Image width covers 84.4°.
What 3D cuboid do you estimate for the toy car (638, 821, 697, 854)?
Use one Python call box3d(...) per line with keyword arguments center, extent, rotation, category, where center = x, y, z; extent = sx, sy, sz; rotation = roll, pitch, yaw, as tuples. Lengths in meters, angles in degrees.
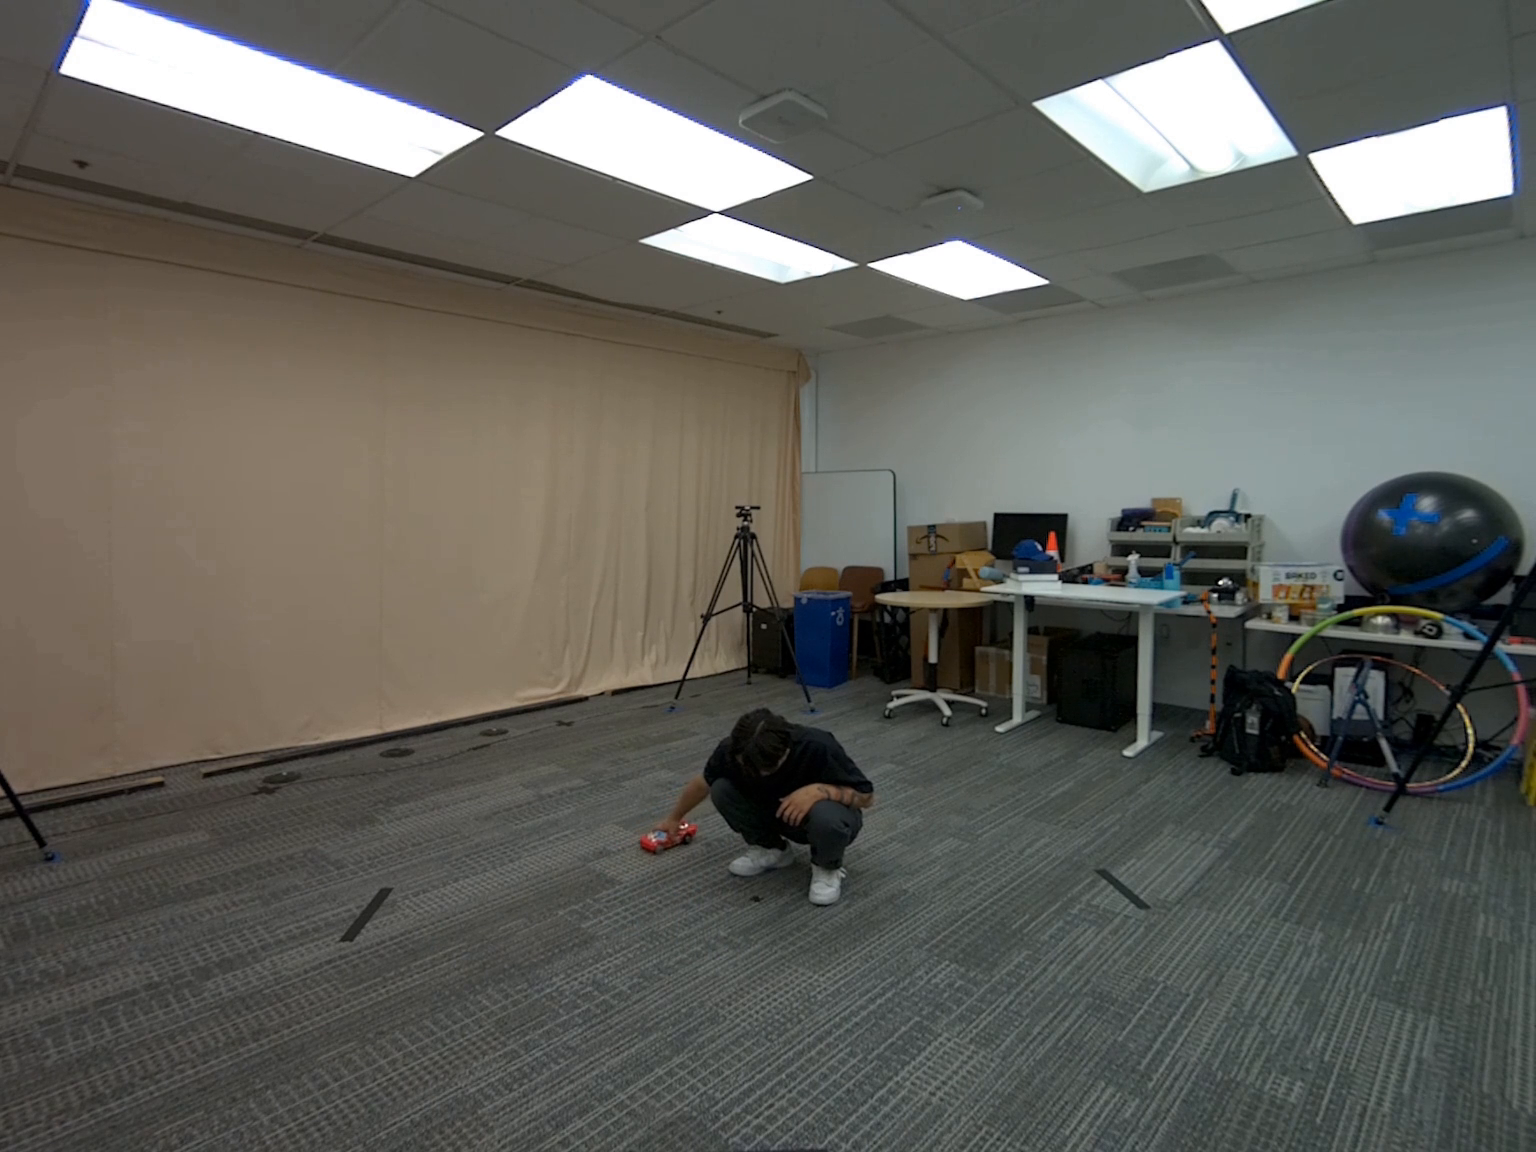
box3d(center=(-0.406, 1.074, 3.476), extent=(0.248, 0.082, 0.134), rotation=(-18, 13, -39), category="toy car")
